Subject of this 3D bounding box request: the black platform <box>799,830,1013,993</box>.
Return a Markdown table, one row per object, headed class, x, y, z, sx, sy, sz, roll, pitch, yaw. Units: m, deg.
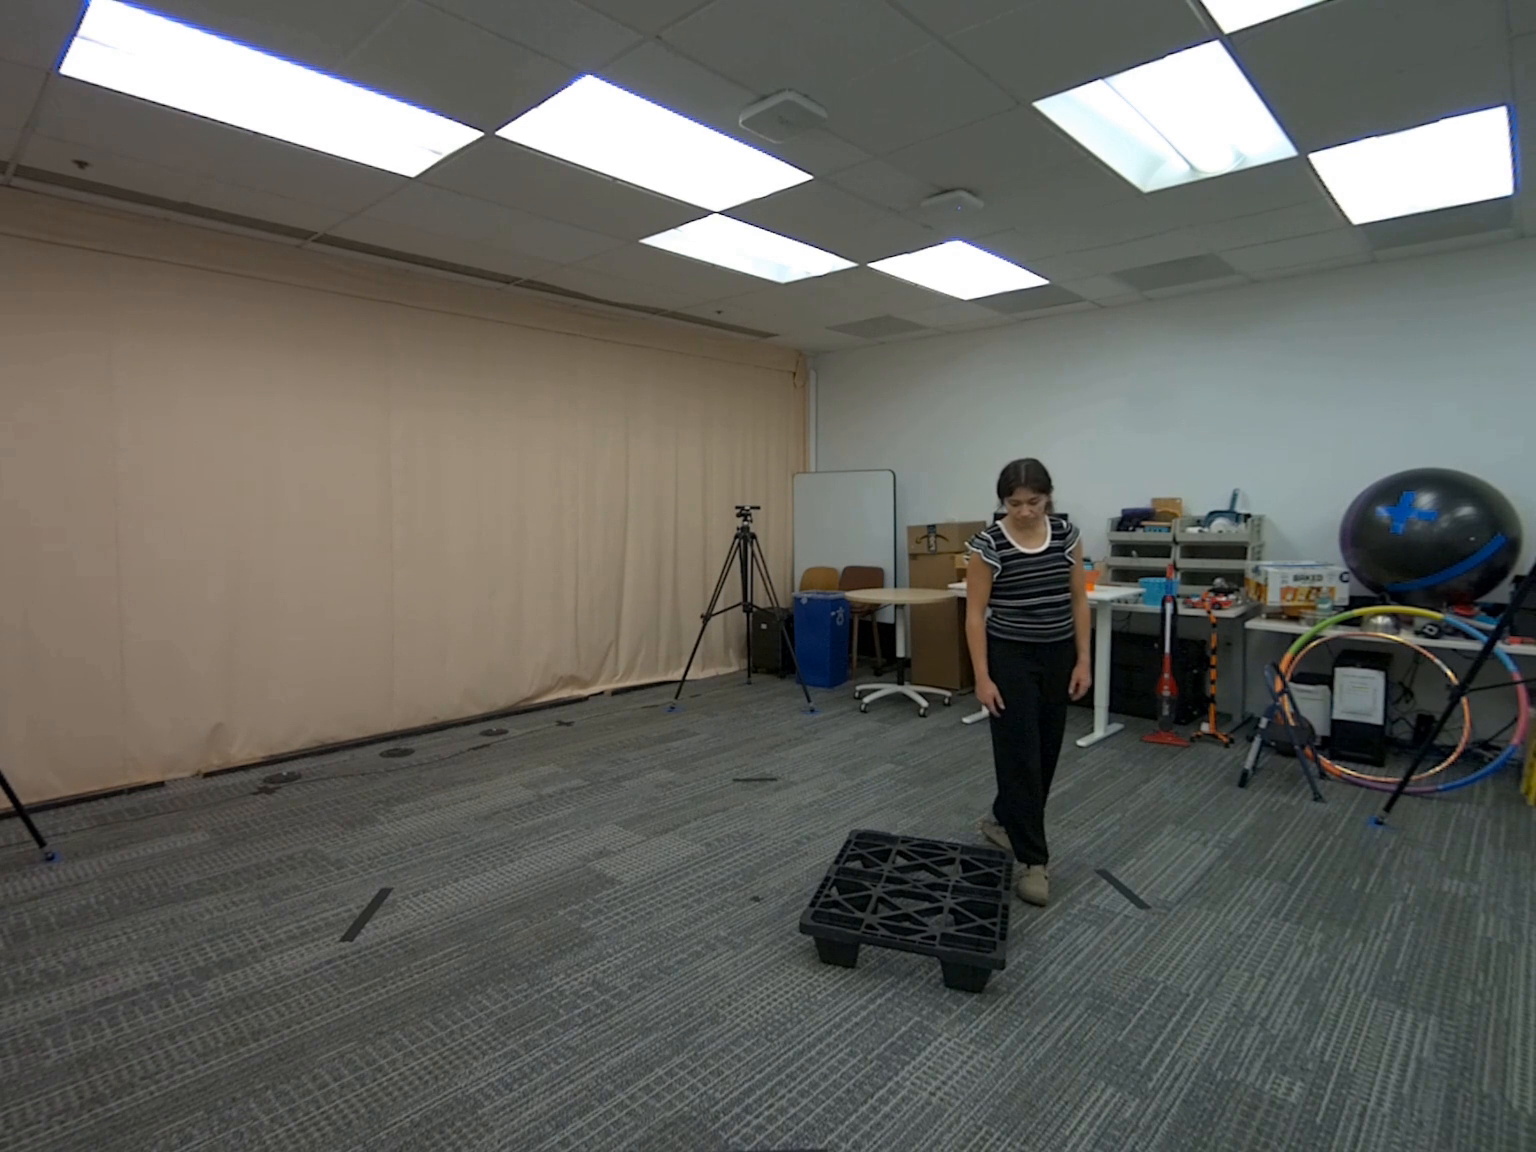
| class | x | y | z | sx | sy | sz | roll | pitch | yaw |
| --- | --- | --- | --- | --- | --- | --- | --- | --- | --- |
| black platform | 0.492 | 1.087 | 2.812 | 0.618 | 0.143 | 0.791 | 1 | 5 | 19 |
